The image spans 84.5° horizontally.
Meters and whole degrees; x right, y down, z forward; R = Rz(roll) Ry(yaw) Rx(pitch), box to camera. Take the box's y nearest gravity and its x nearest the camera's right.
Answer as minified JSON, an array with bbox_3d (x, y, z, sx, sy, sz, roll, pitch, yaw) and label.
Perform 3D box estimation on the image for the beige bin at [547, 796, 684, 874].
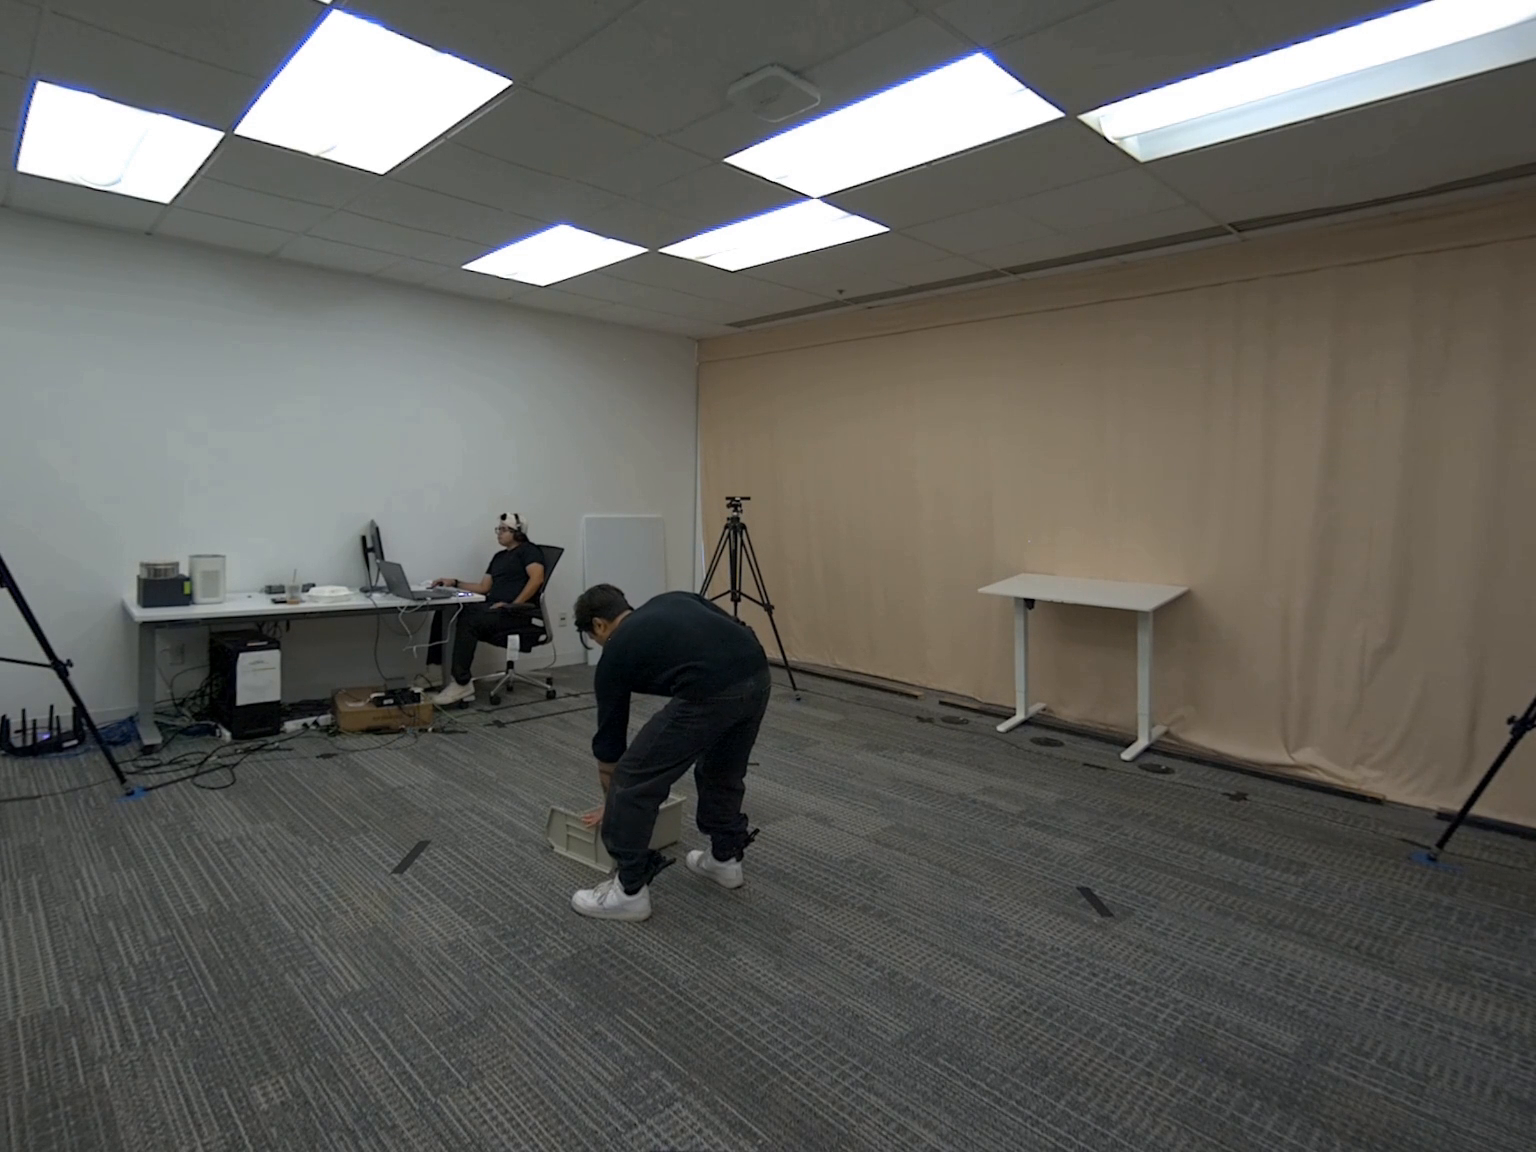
[{"bbox_3d":[-0.612,0.987,3.362,0.387,0.188,0.413,6,7,37],"label":"beige bin"}]
